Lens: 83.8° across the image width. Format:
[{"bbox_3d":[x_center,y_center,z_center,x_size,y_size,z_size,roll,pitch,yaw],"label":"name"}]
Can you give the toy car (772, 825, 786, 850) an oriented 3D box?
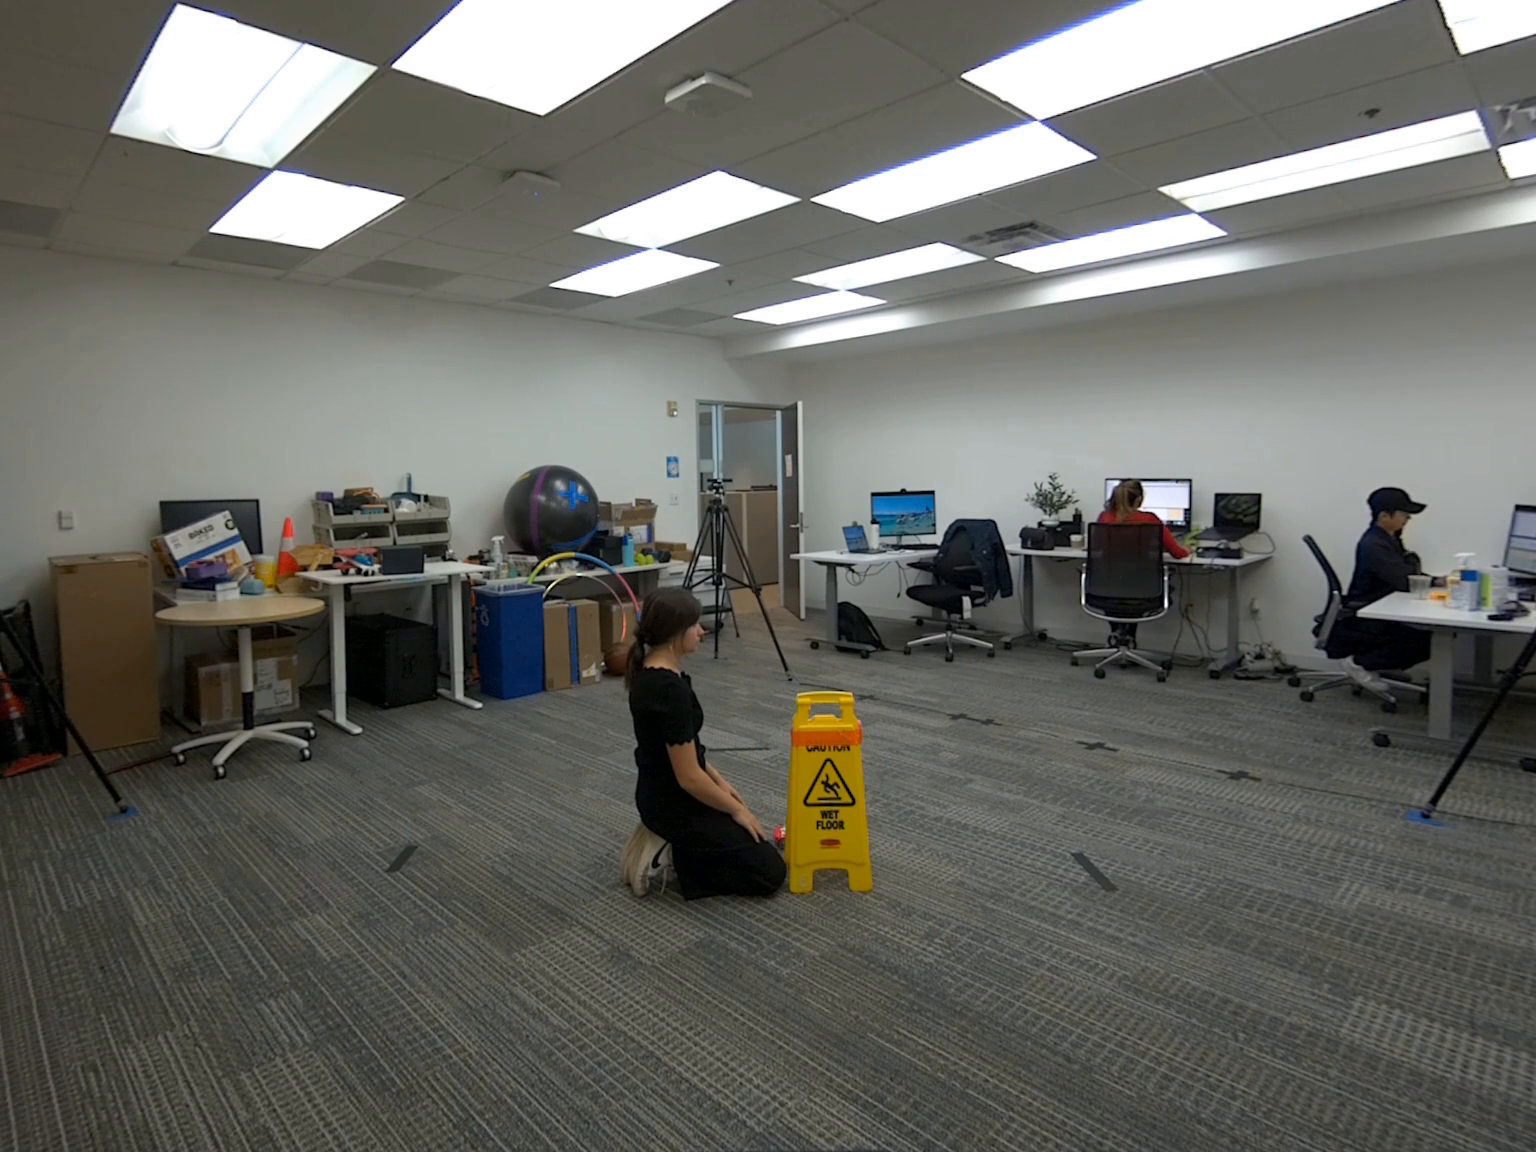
[{"bbox_3d":[0.162,0.993,3.269,0.254,0.083,0.131,-13,6,-3],"label":"toy car"}]
